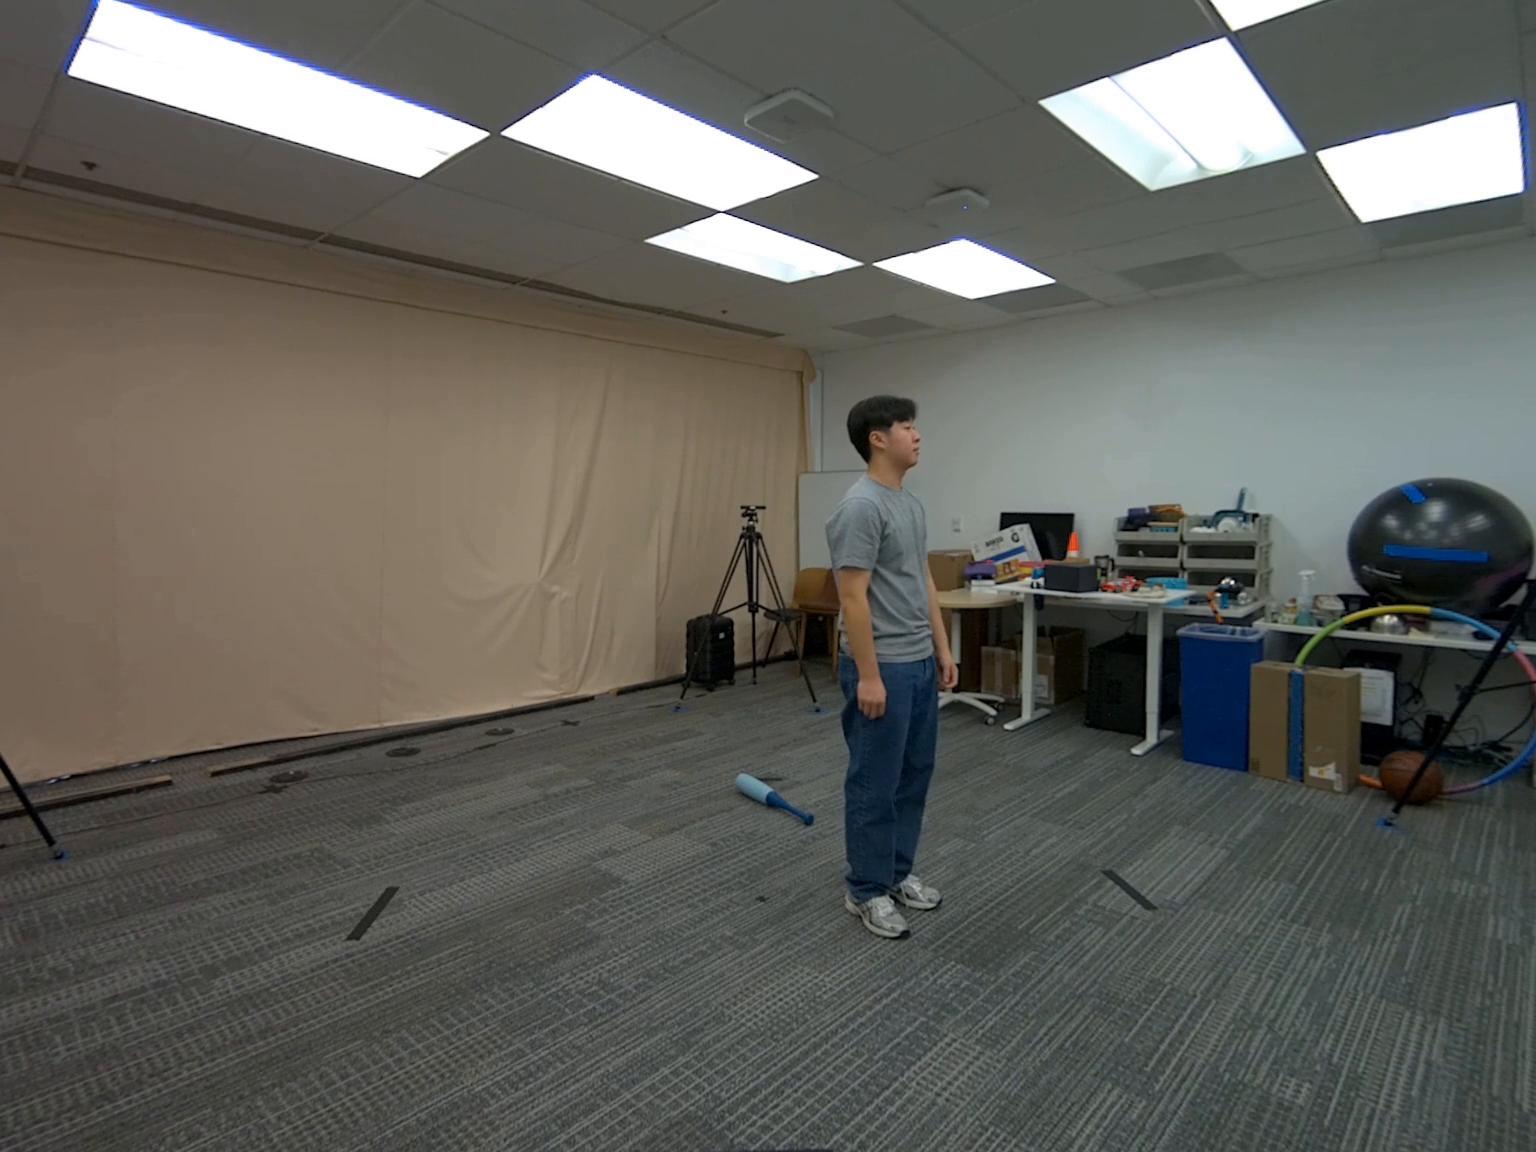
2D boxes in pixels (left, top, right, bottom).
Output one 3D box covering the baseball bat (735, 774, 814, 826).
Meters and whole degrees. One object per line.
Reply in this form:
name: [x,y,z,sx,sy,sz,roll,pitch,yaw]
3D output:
baseball bat: [0.031,1.036,3.893,0.086,0.089,0.561,-3,8,-35]
